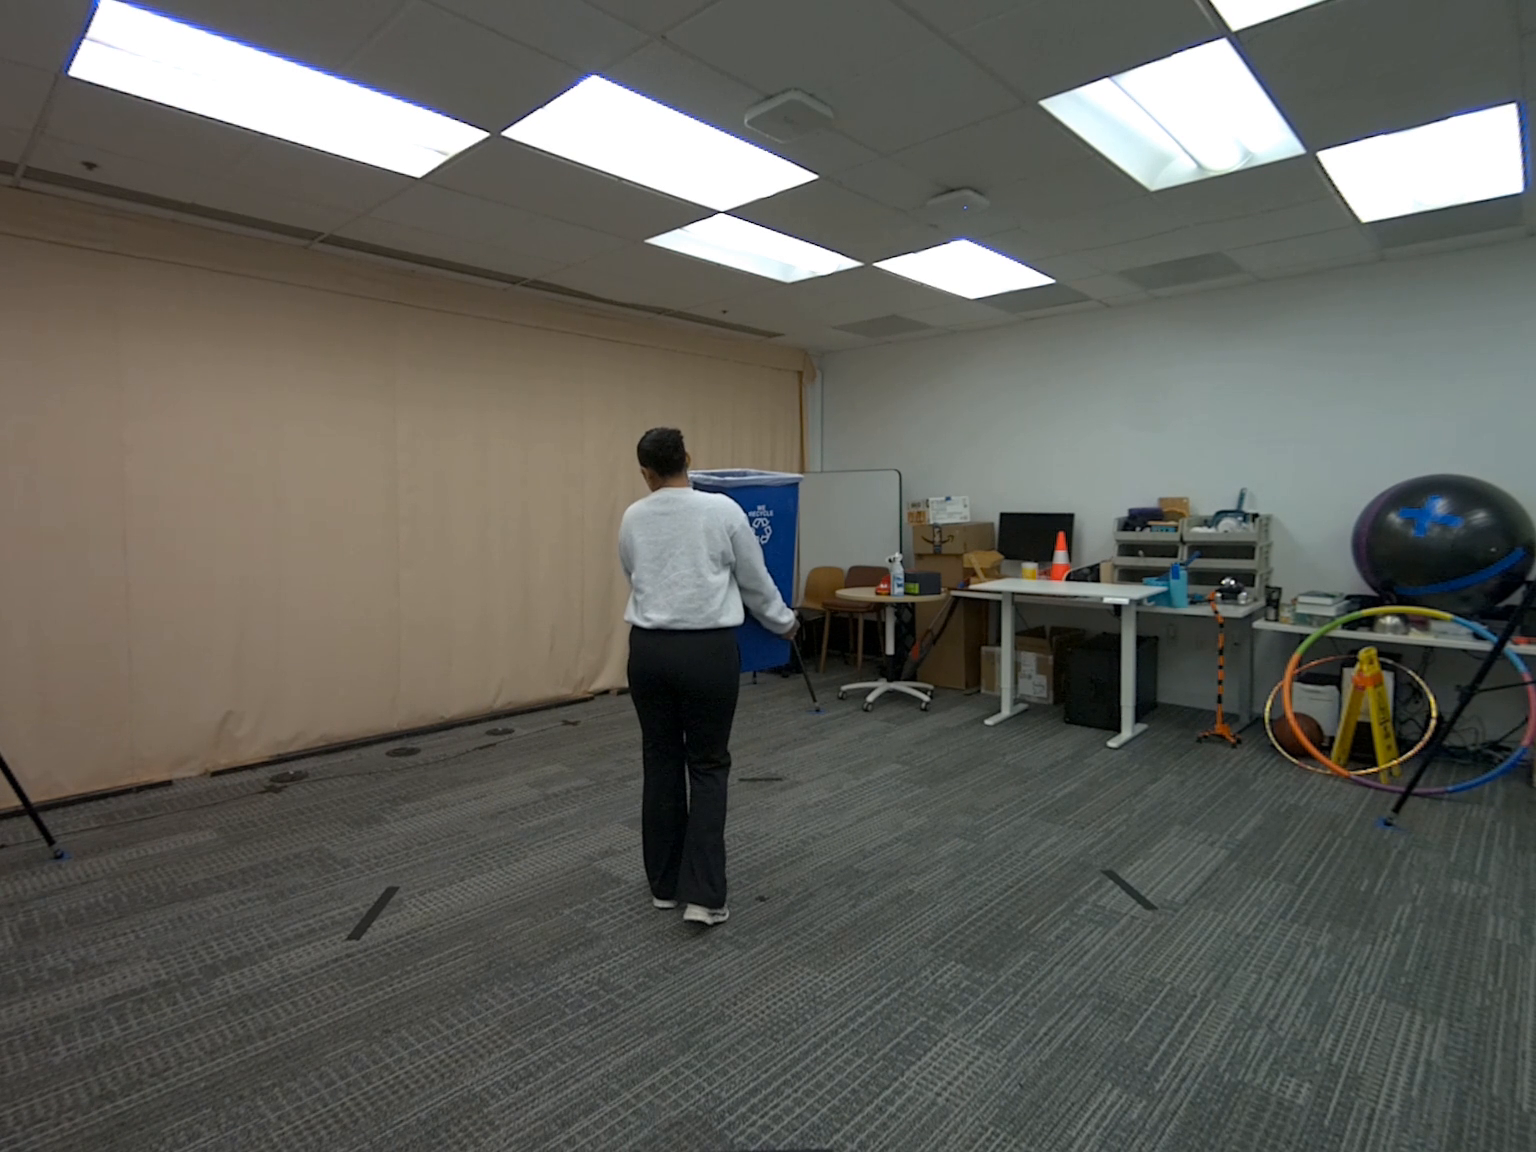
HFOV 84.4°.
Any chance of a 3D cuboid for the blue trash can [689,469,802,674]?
[{"bbox_3d":[-0.108,-0.029,3.167,0.367,0.709,0.387,-7,12,-36],"label":"blue trash can"}]
